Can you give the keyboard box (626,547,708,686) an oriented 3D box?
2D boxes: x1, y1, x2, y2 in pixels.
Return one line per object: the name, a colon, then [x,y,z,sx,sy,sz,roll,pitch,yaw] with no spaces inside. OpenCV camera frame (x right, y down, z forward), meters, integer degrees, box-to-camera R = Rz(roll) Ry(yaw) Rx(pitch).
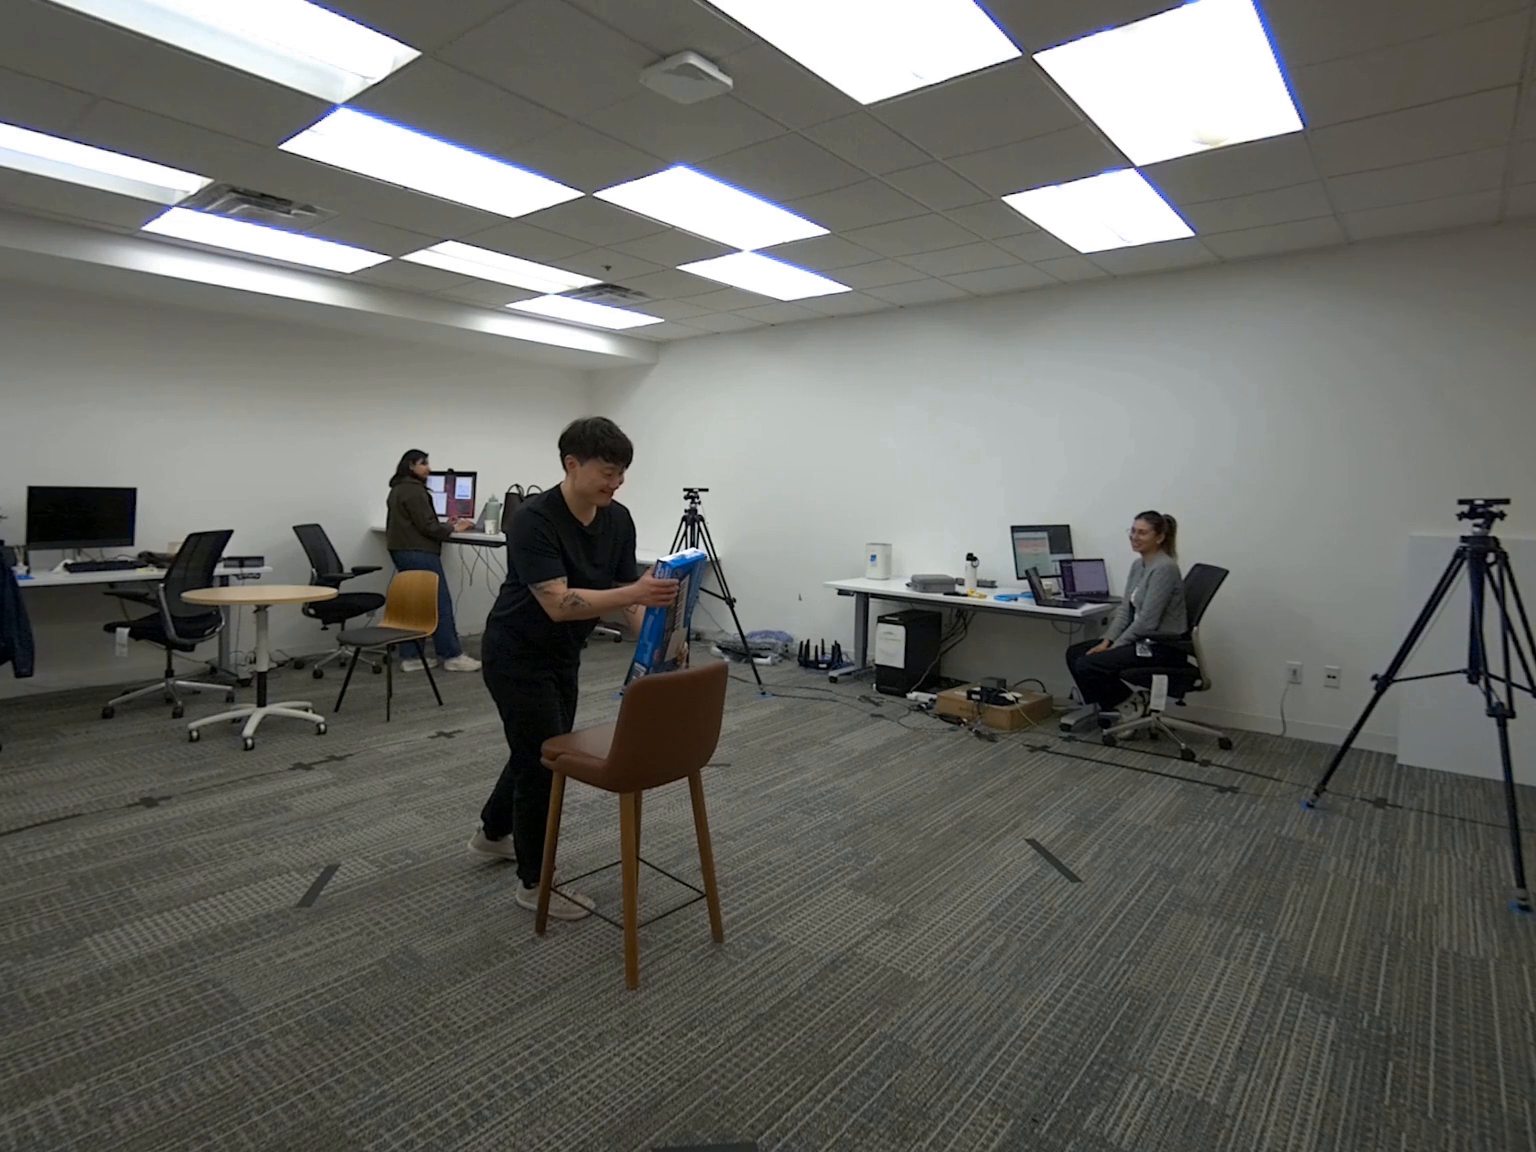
keyboard box: [-0.310,0.141,2.513,0.061,0.431,0.172,27,24,26]
